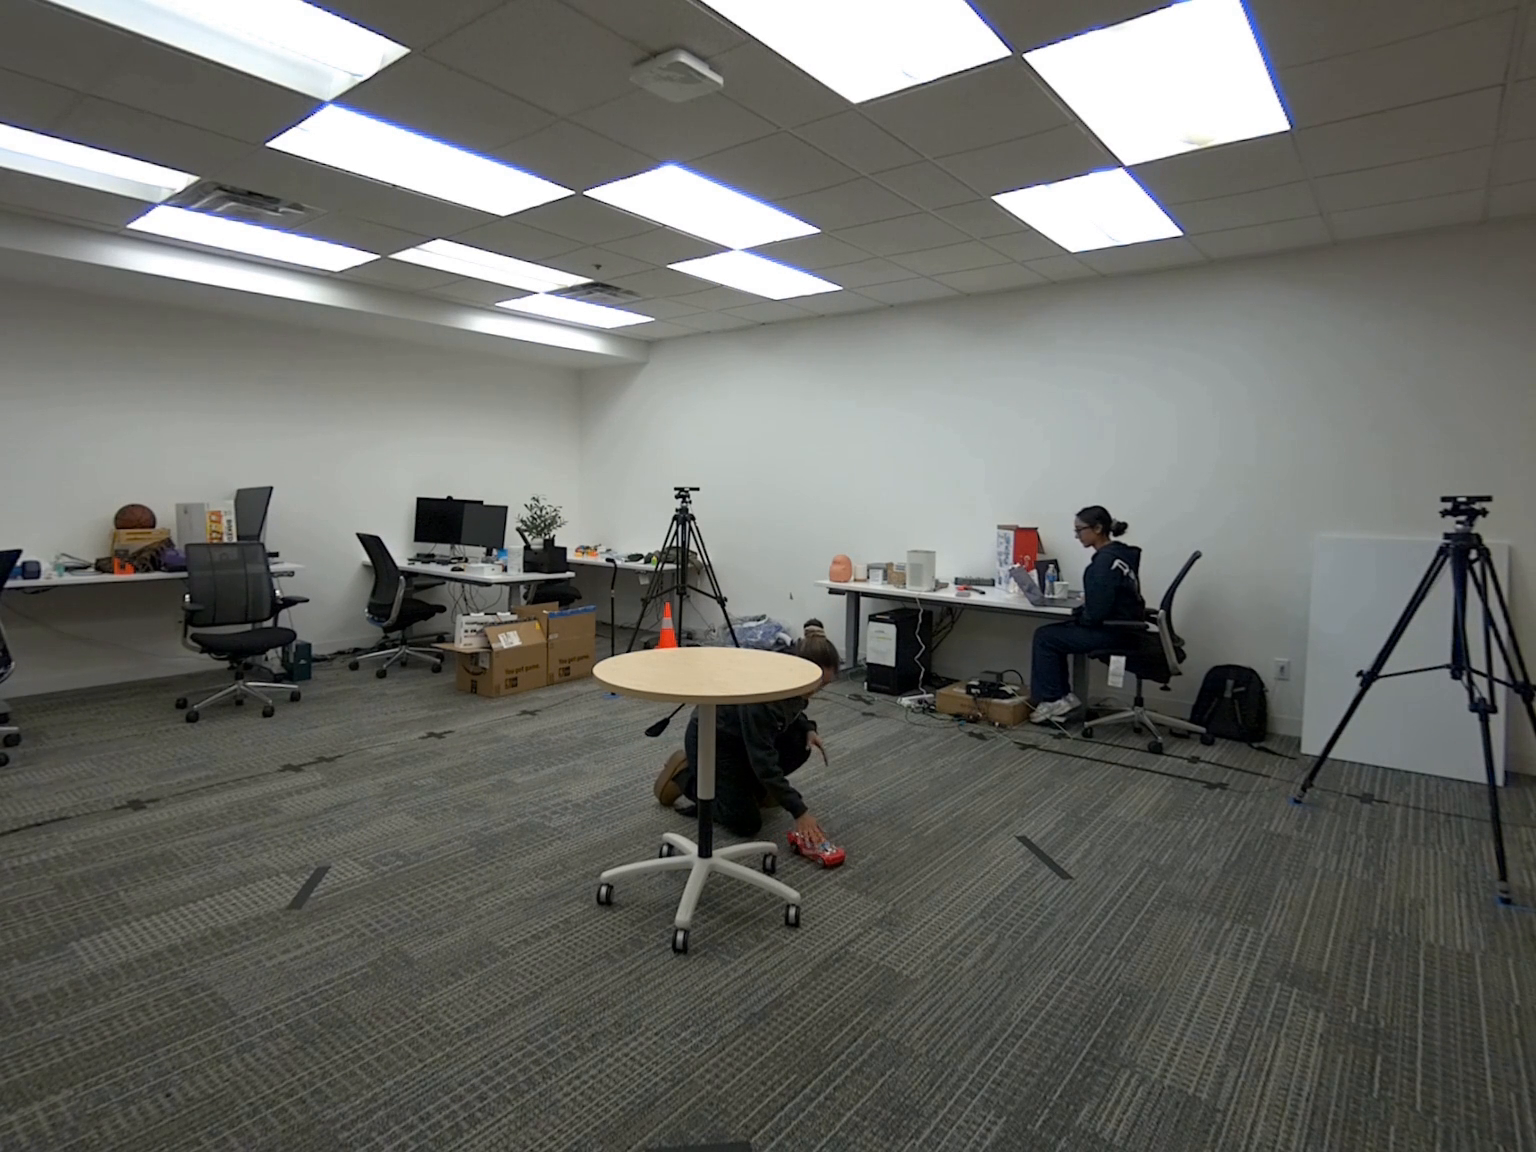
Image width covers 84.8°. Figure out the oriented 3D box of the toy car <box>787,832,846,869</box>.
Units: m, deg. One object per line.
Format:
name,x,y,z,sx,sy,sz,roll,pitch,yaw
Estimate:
toy car,0.163,1.026,3.239,0.127,0.082,0.264,-4,17,-35
